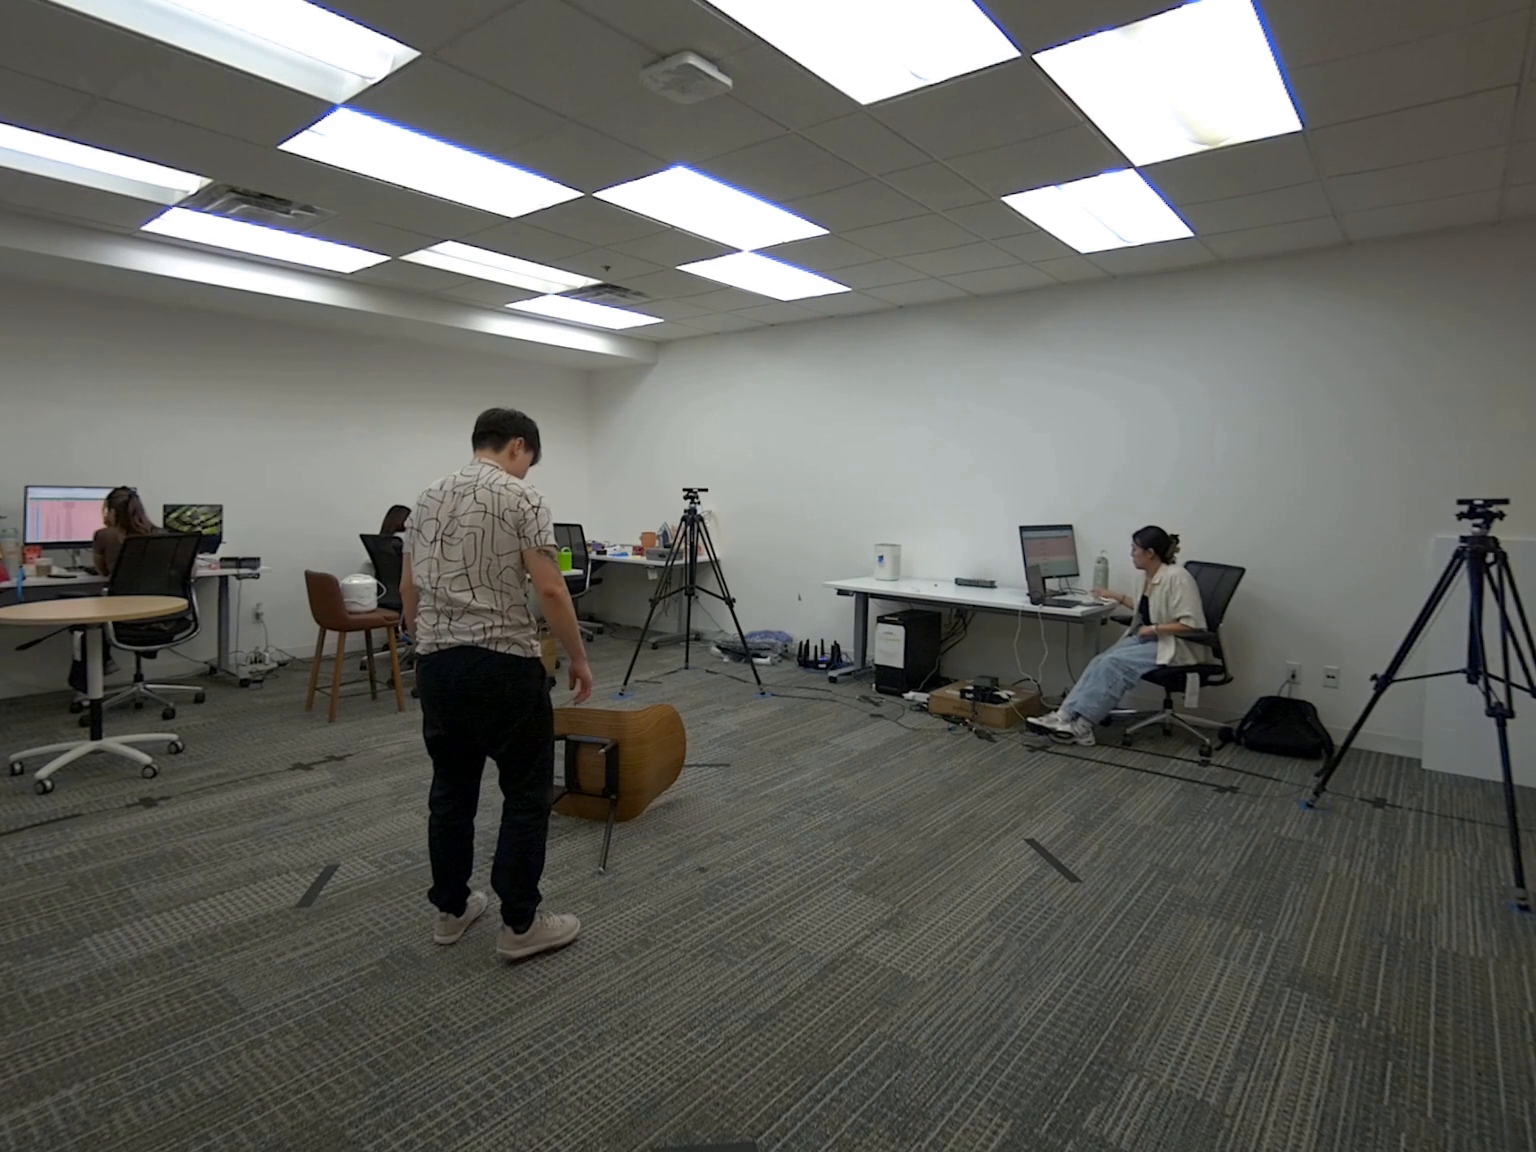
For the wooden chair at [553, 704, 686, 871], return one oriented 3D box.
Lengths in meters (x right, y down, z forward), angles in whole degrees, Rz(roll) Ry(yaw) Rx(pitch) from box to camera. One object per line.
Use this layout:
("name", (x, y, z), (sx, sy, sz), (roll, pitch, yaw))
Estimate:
("wooden chair", (-0.751, 0.794, 3.513), (0.533, 0.476, 0.865), (2, 6, 16))
